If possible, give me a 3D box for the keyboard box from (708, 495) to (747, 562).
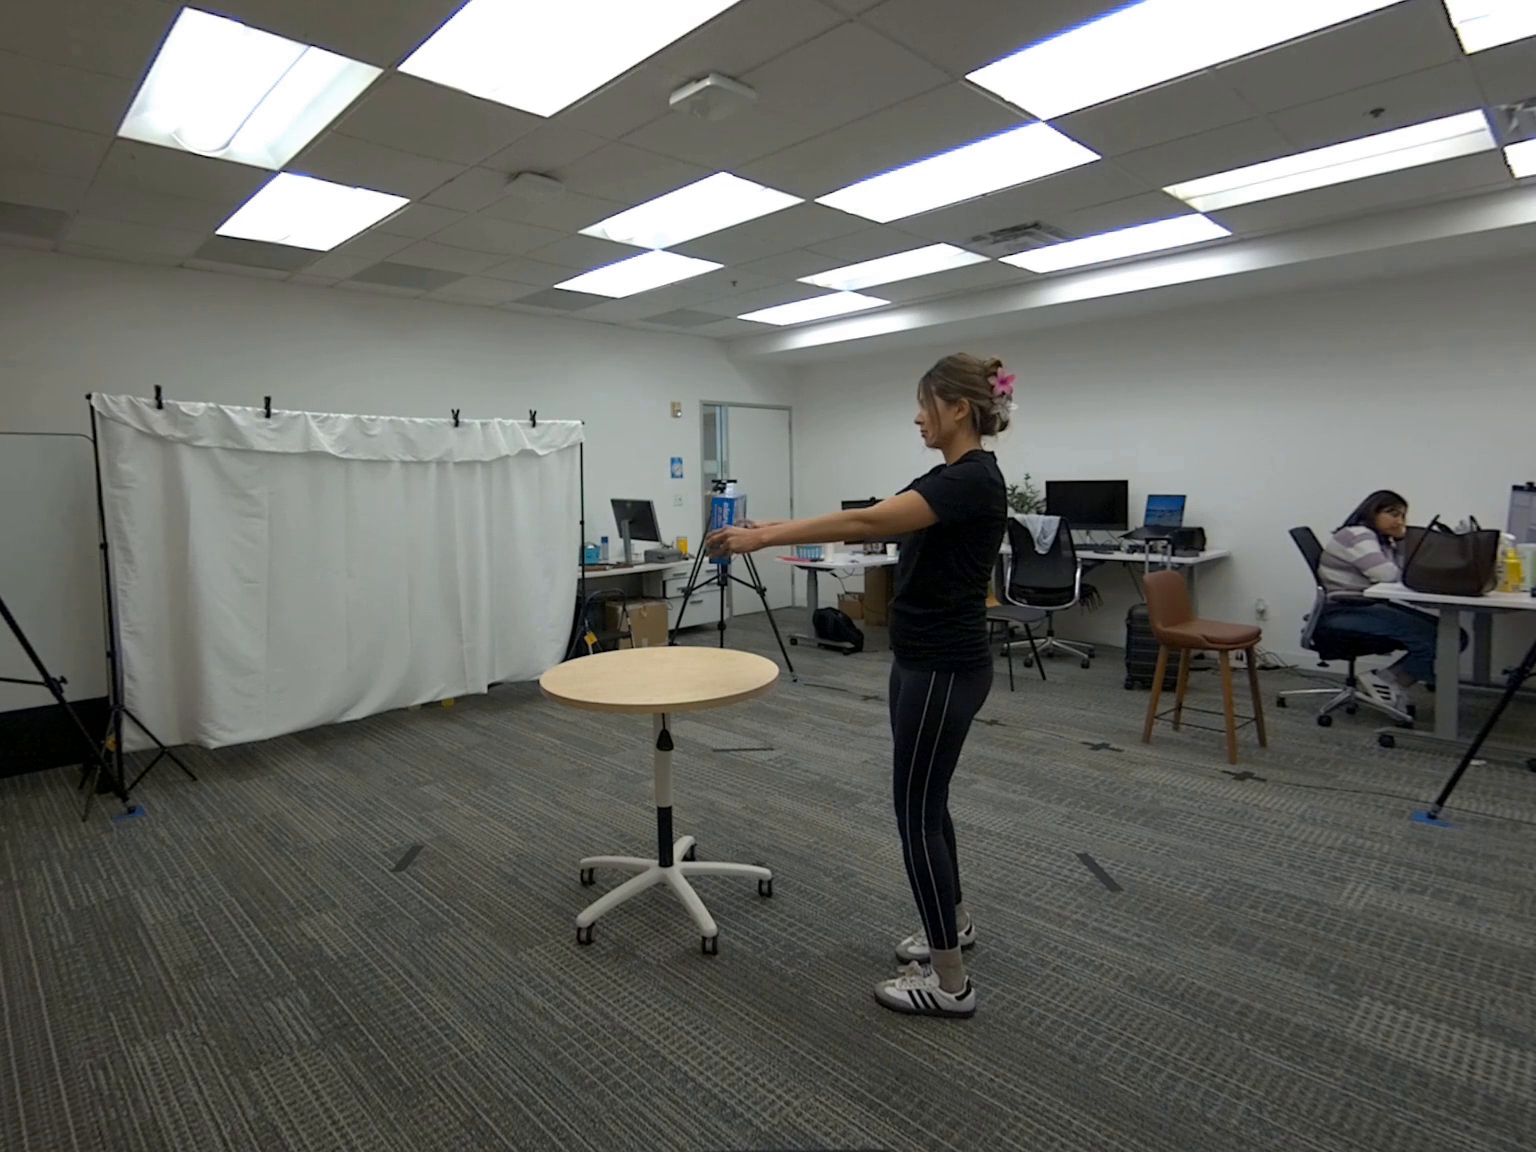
[{"bbox_3d":[-0.099,-0.139,2.377,0.059,0.175,0.437,4,6,1],"label":"keyboard box"}]
